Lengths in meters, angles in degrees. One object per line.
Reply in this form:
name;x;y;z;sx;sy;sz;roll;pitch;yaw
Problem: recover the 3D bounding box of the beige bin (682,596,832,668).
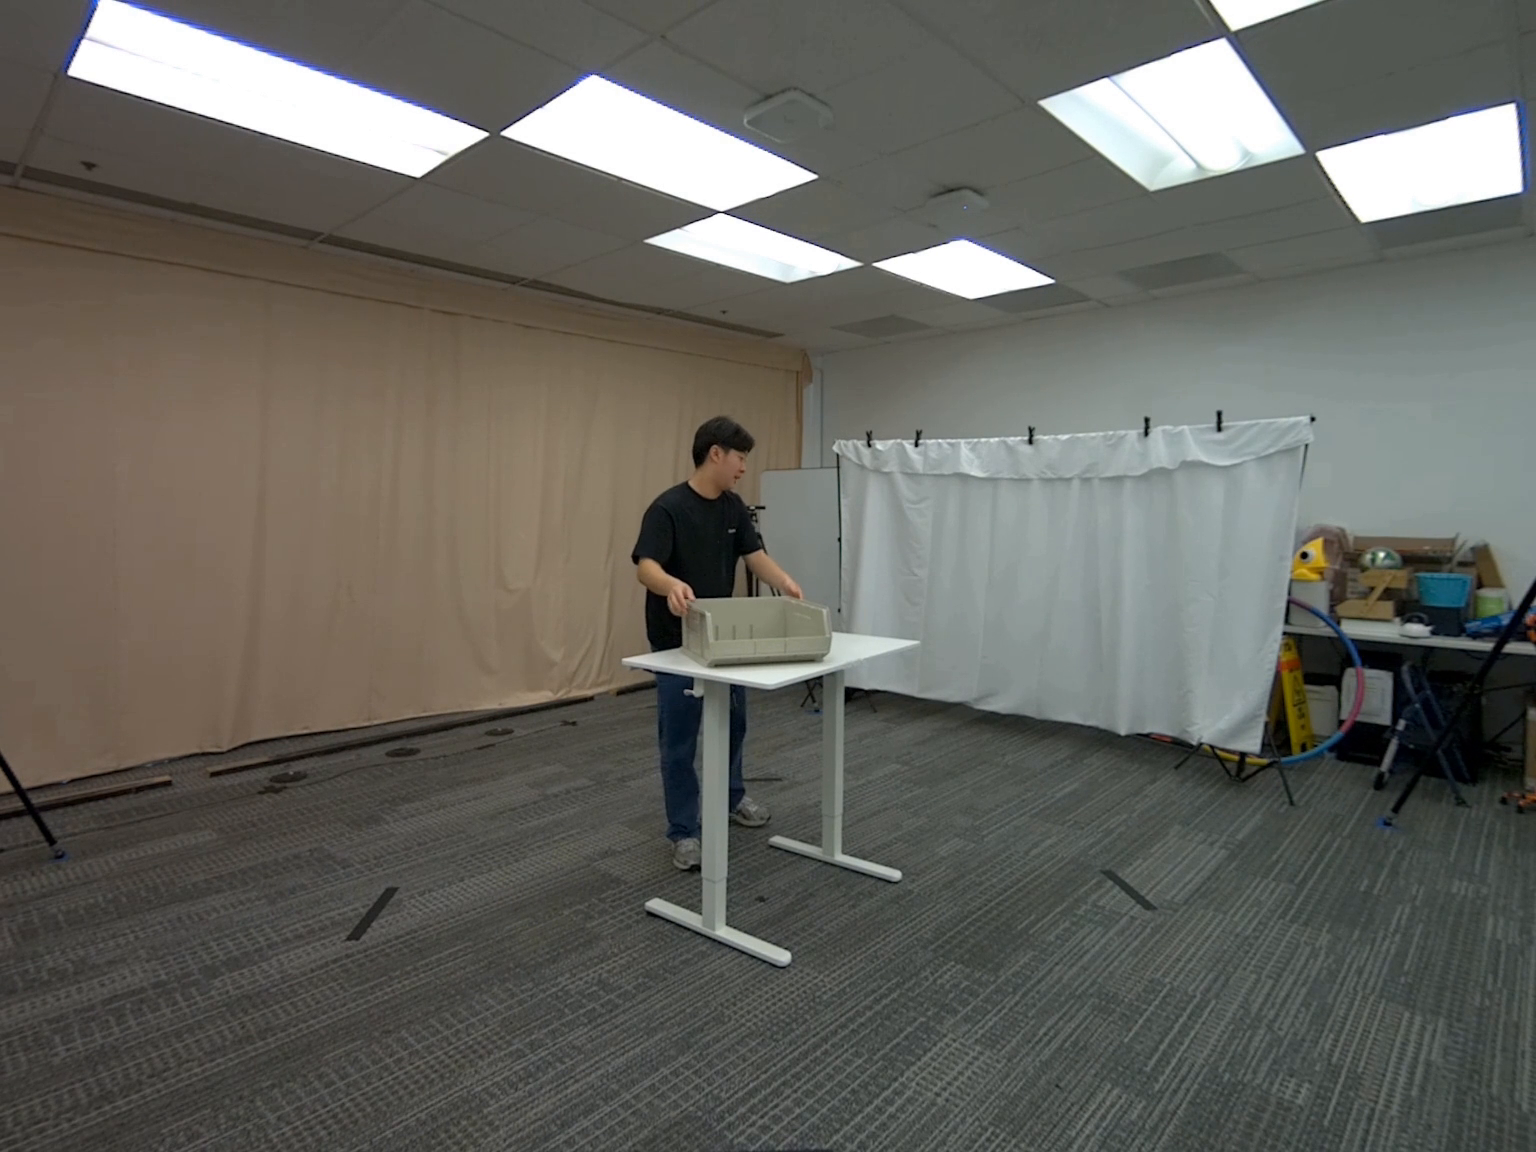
beige bin;-0.047;0.186;2.816;0.414;0.188;0.385;-2;4;-19
